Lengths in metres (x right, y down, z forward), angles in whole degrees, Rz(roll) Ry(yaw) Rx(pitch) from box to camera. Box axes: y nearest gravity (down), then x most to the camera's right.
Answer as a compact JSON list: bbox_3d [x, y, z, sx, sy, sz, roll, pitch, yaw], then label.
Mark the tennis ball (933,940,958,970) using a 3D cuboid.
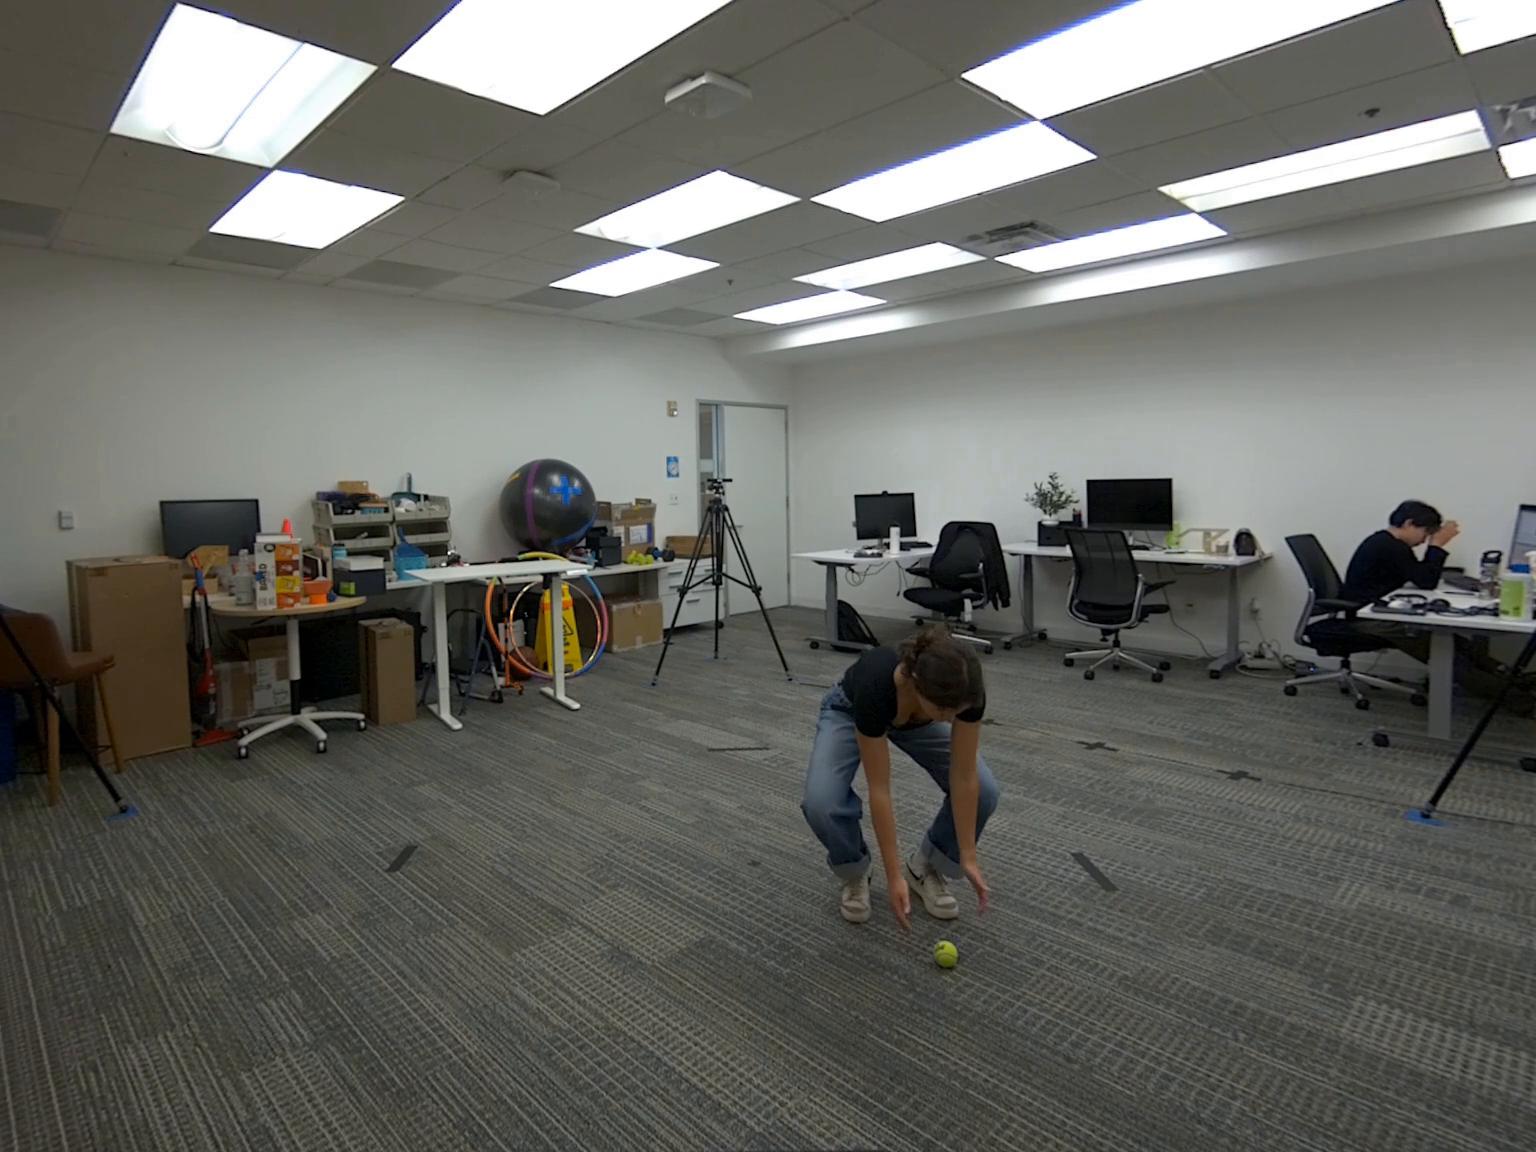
[{"bbox_3d":[0.512,1.070,2.431,0.066,0.066,0.067,-1,5,-2],"label":"tennis ball"}]
